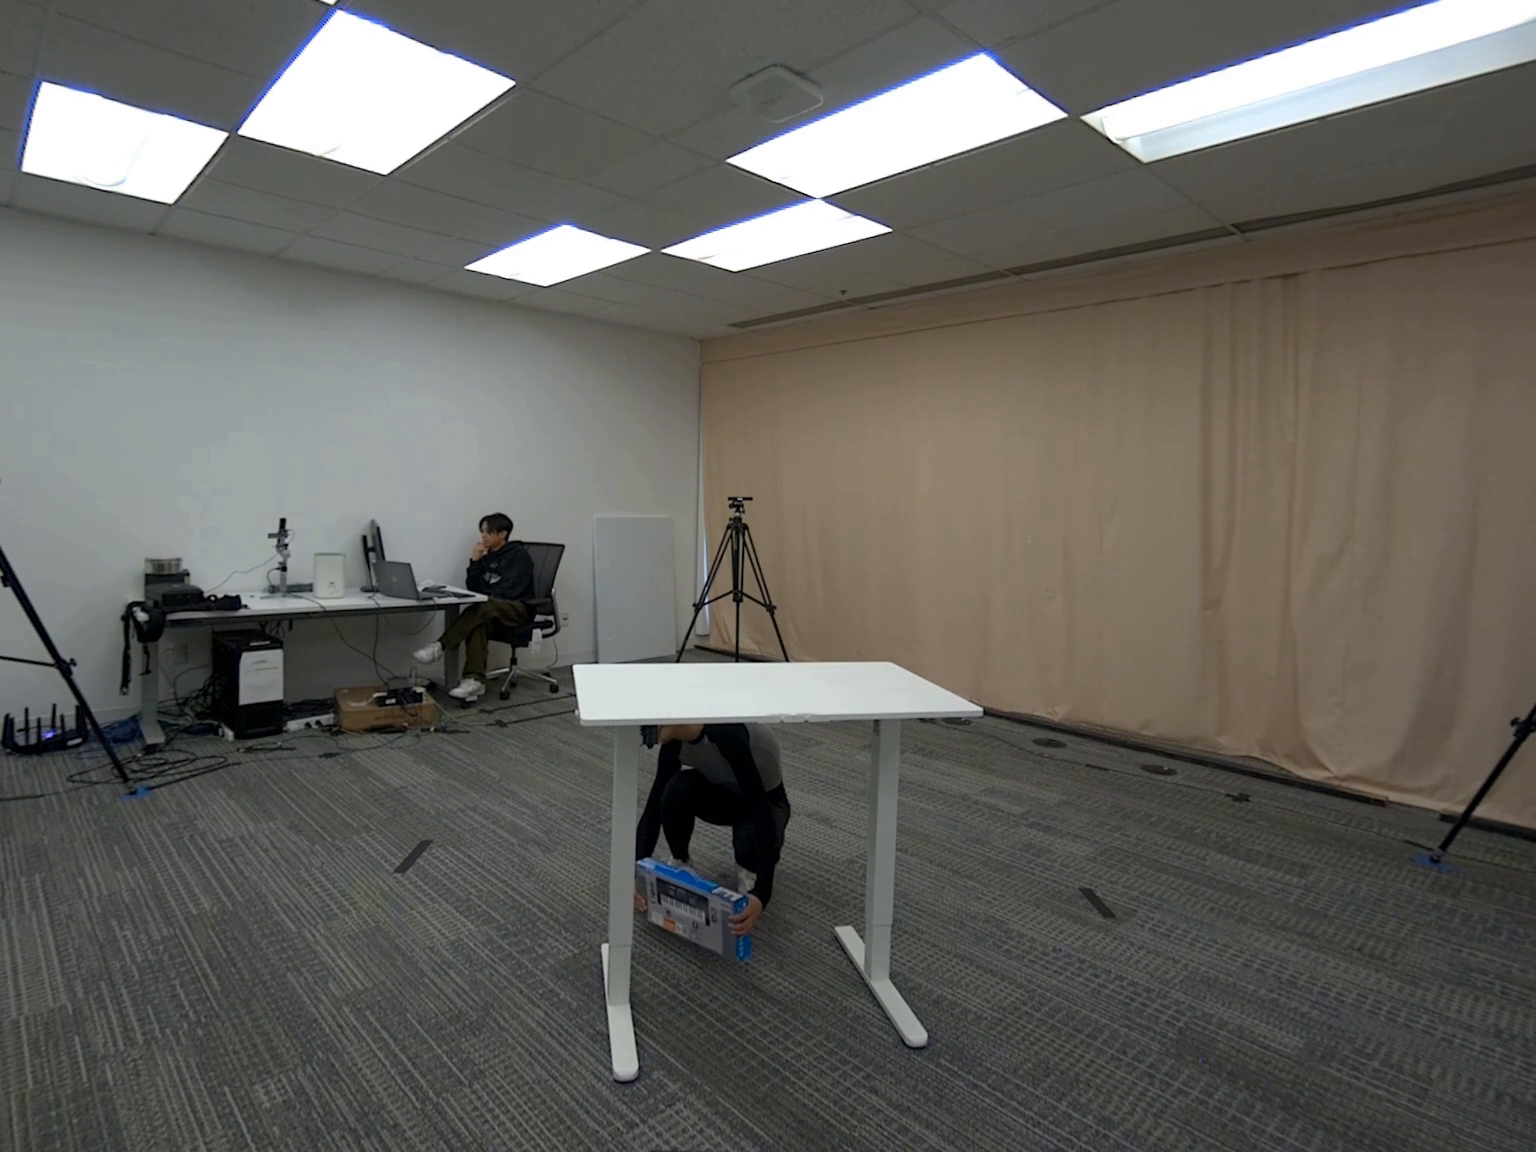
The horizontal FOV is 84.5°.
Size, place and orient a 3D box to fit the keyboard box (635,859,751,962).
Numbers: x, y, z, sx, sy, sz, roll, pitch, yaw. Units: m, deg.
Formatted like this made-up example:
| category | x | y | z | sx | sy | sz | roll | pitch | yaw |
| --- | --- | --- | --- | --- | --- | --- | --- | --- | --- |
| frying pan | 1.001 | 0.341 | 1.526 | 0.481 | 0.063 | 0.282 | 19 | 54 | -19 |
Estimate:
| category | x | y | z | sx | sy | sz | roll | pitch | yaw |
| --- | --- | --- | --- | --- | --- | --- | --- | --- | --- |
| keyboard box | -0.248 | 0.997 | 2.531 | 0.448 | 0.175 | 0.058 | 4 | 4 | 44 |
